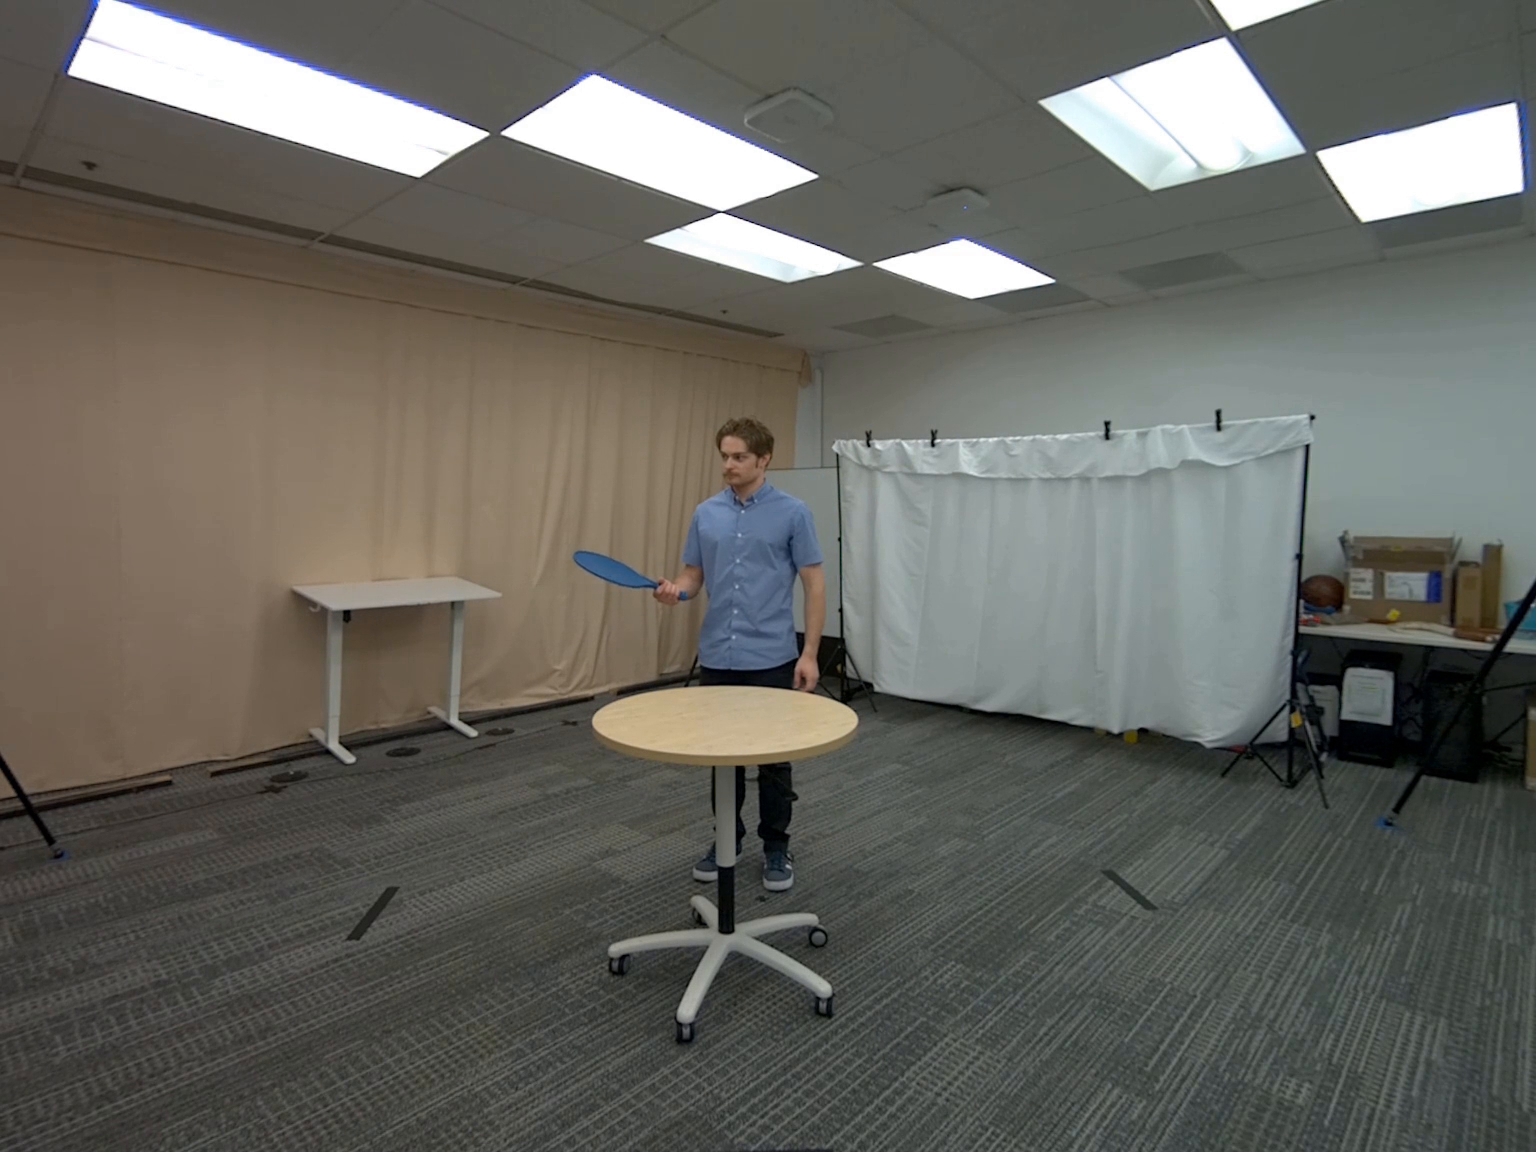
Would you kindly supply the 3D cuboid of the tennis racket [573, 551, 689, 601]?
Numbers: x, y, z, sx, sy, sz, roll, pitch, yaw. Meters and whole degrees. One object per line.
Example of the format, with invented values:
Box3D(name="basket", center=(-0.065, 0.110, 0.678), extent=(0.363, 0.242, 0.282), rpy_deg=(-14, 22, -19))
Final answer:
Box3D(name="tennis racket", center=(-0.464, 0.006, 2.901), extent=(0.422, 0.032, 0.219), rpy_deg=(20, 18, -24))
